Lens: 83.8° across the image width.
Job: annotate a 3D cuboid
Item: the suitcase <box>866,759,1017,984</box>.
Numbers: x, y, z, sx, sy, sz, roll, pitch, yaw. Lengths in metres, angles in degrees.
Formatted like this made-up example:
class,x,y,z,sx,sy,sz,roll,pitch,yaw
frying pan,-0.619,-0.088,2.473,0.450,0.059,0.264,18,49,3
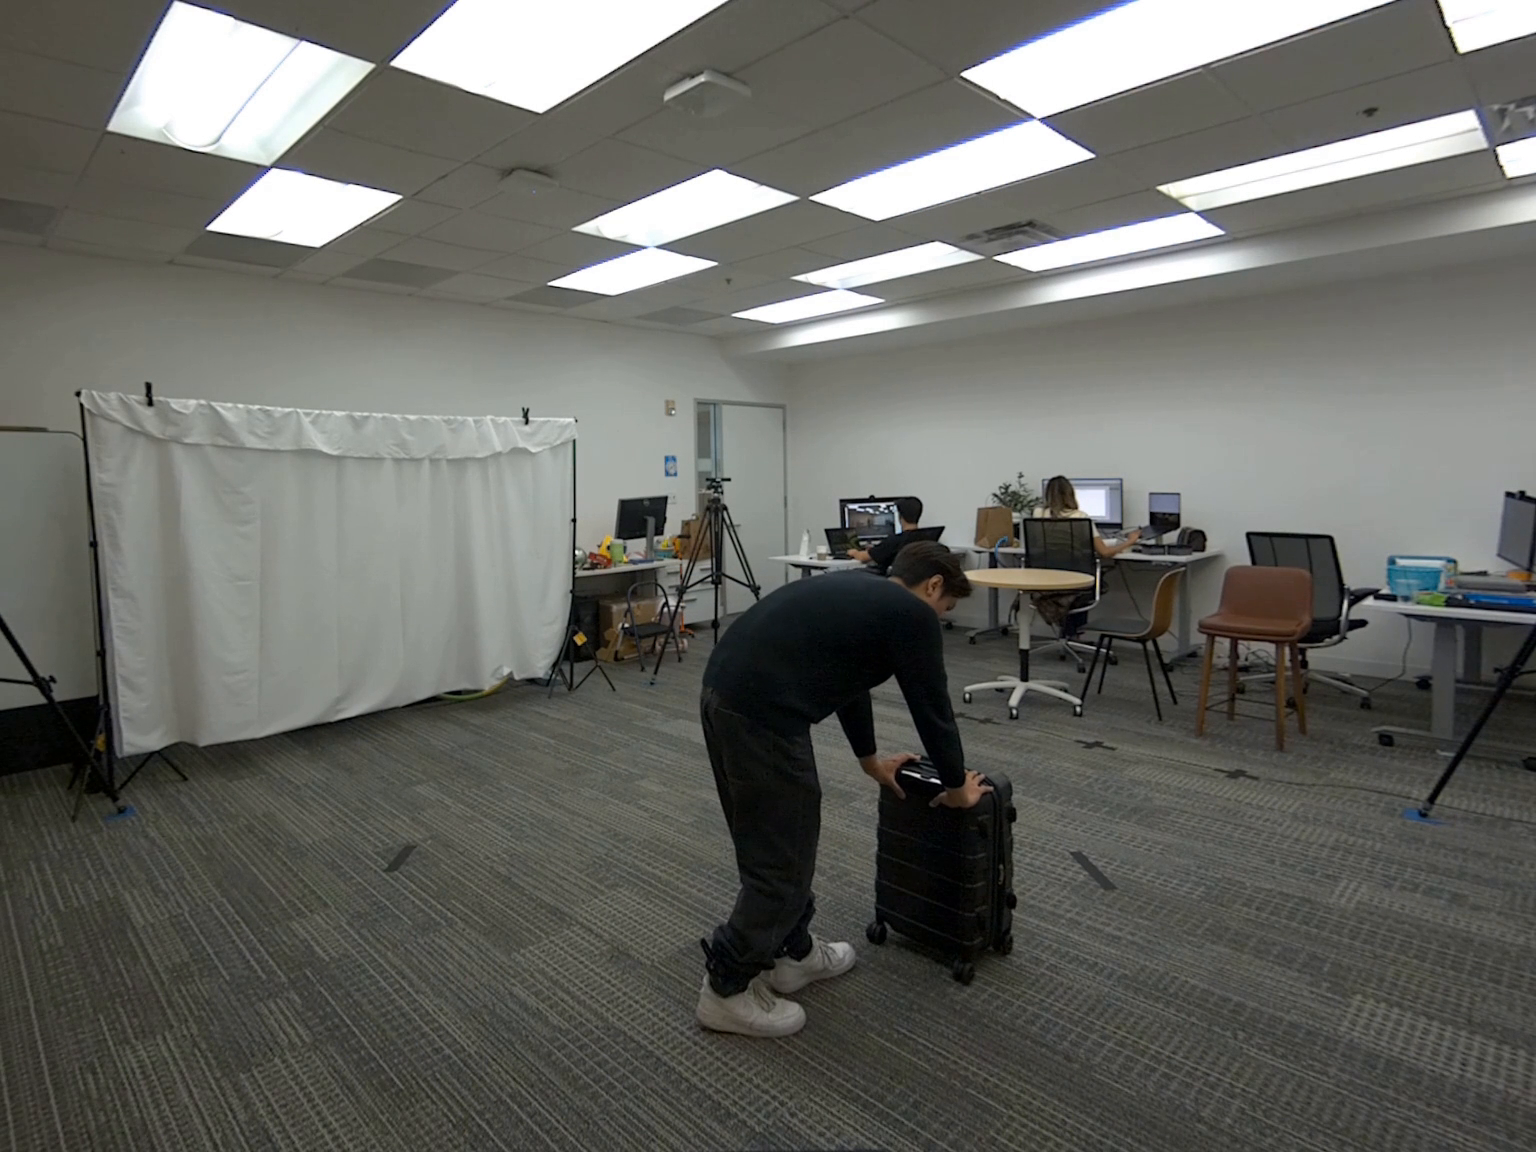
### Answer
class,x,y,z,sx,sy,sz,roll,pitch,yaw
suitcase,0.524,0.826,2.539,0.241,0.549,0.387,-1,2,-43
